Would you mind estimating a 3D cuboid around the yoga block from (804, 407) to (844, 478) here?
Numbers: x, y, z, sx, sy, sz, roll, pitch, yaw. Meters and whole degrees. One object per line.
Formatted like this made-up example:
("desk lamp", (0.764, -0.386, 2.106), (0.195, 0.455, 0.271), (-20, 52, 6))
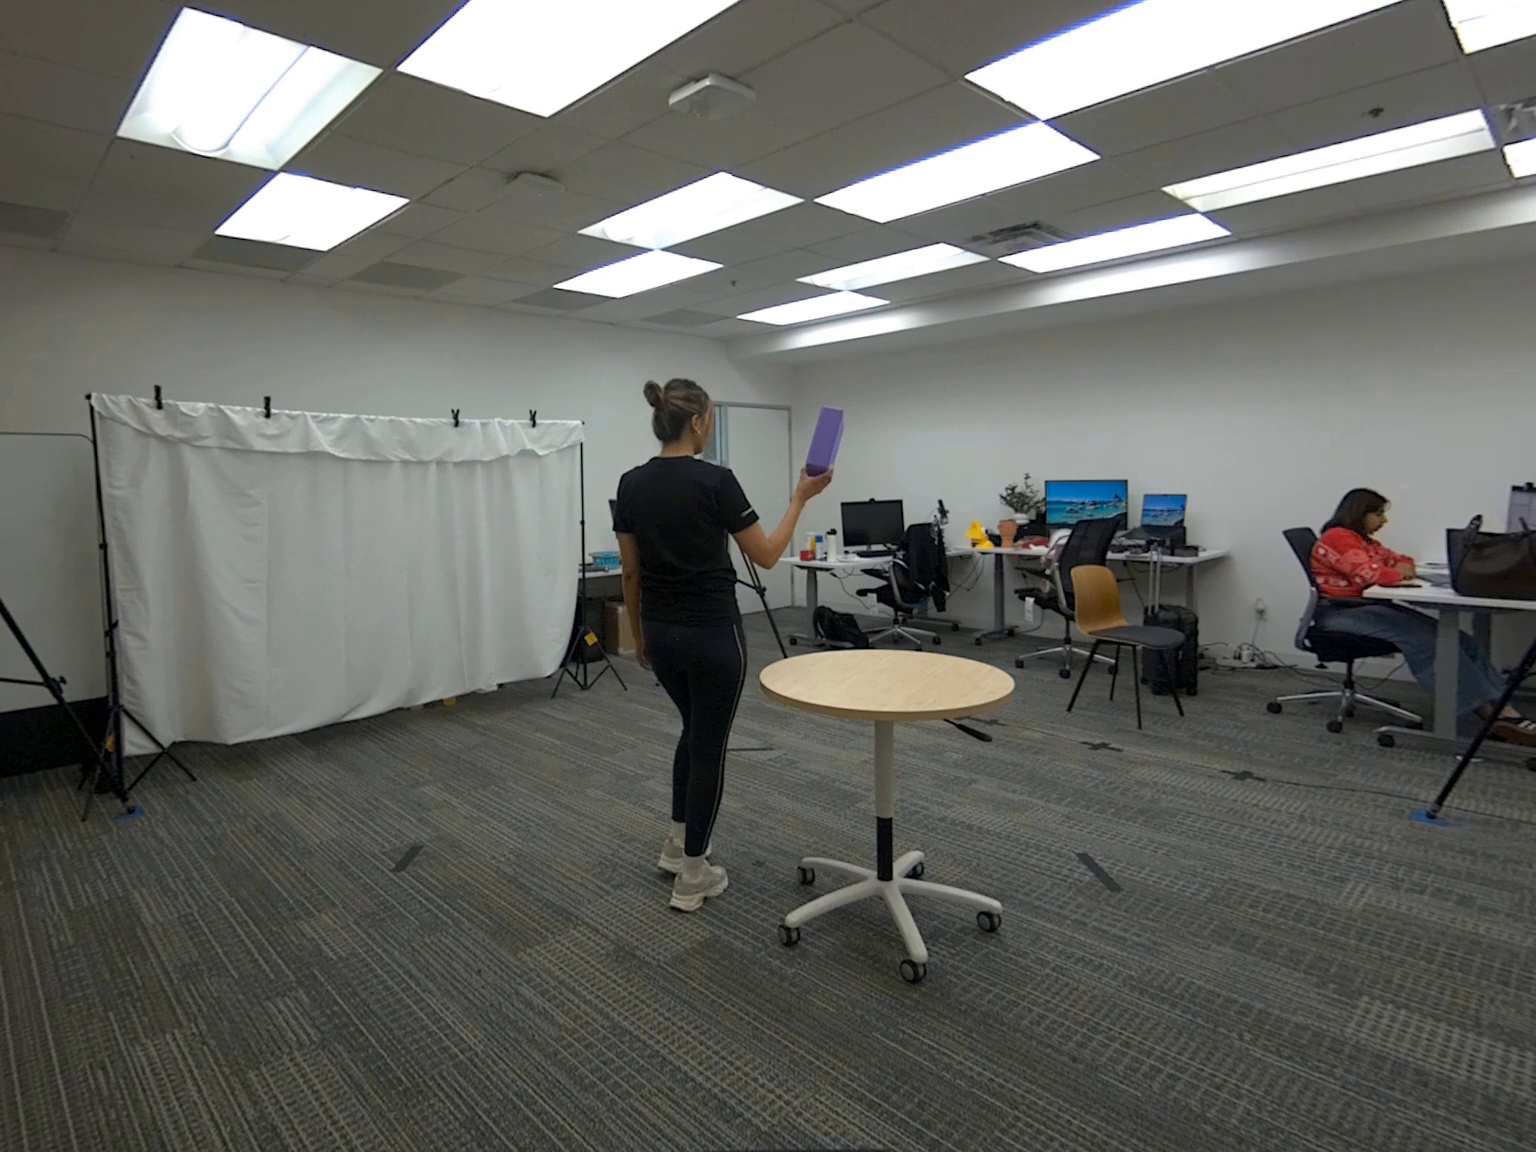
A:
("yoga block", (0.200, -0.444, 2.903), (0.077, 0.231, 0.146), (14, -15, 8))
